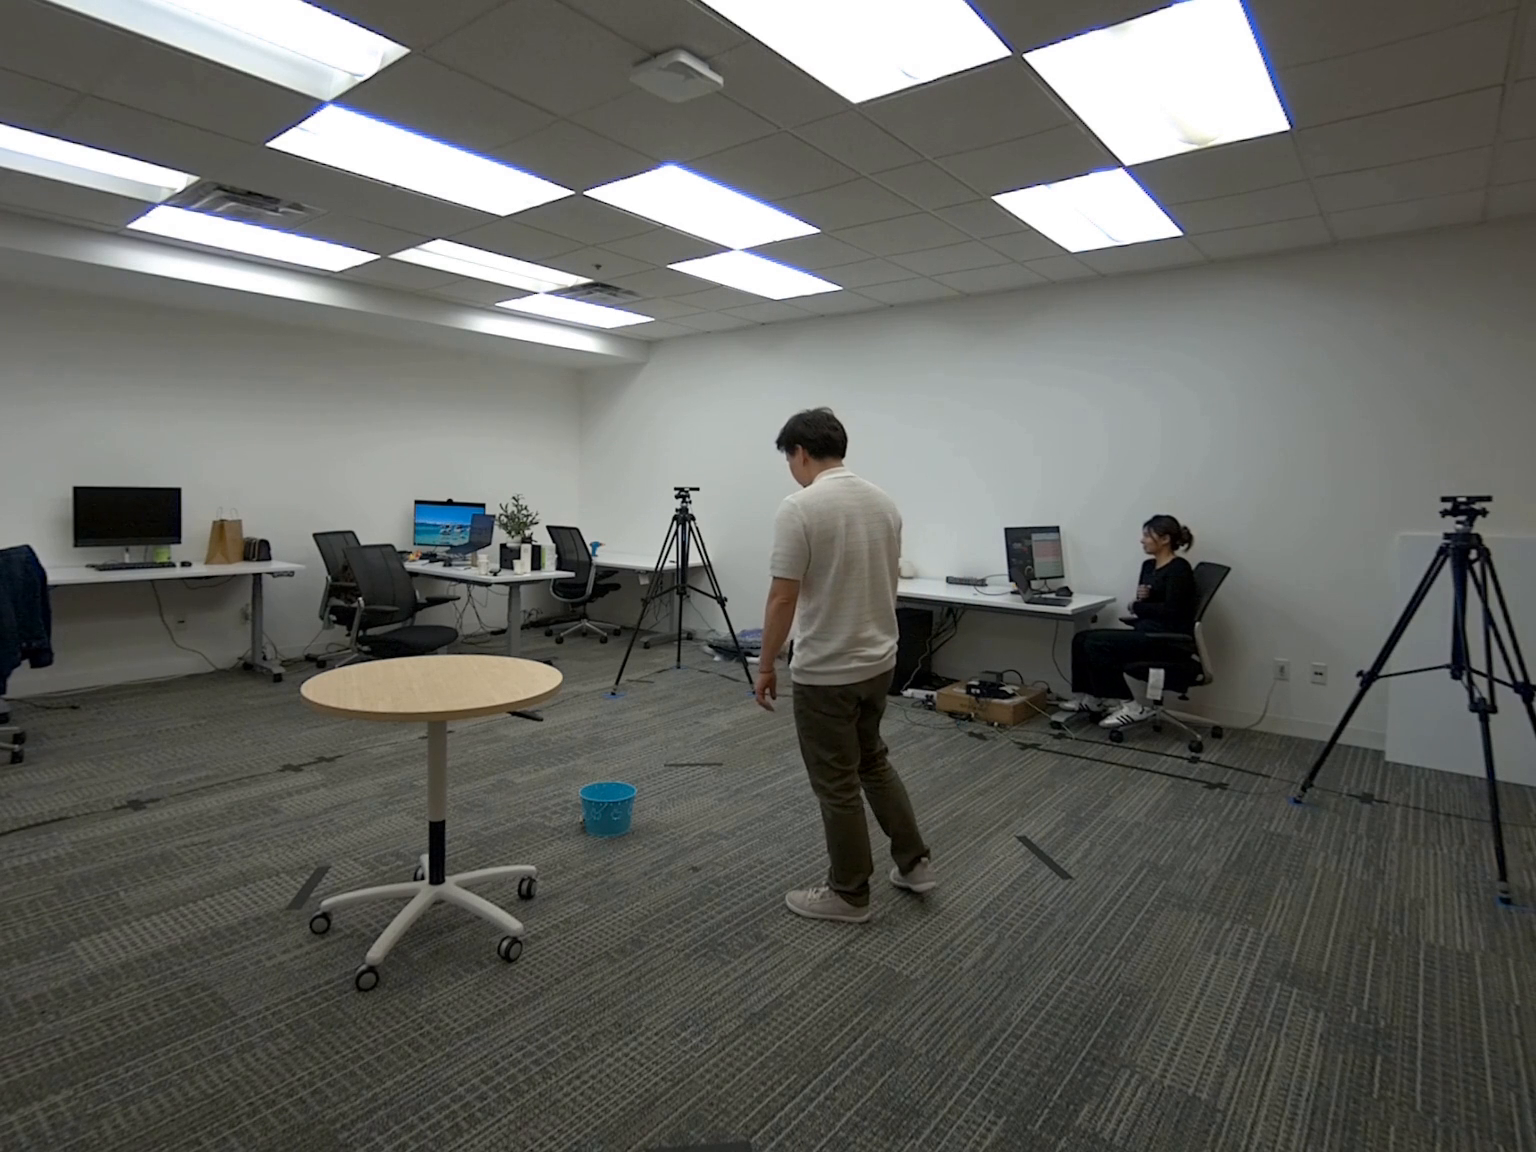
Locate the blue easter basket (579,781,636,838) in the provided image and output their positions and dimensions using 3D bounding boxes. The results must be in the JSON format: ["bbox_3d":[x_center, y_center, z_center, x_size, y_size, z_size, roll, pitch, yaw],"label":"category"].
[{"bbox_3d":[-0.670,0.945,3.467,0.243,0.155,0.245,1,5,-2],"label":"blue easter basket"}]
